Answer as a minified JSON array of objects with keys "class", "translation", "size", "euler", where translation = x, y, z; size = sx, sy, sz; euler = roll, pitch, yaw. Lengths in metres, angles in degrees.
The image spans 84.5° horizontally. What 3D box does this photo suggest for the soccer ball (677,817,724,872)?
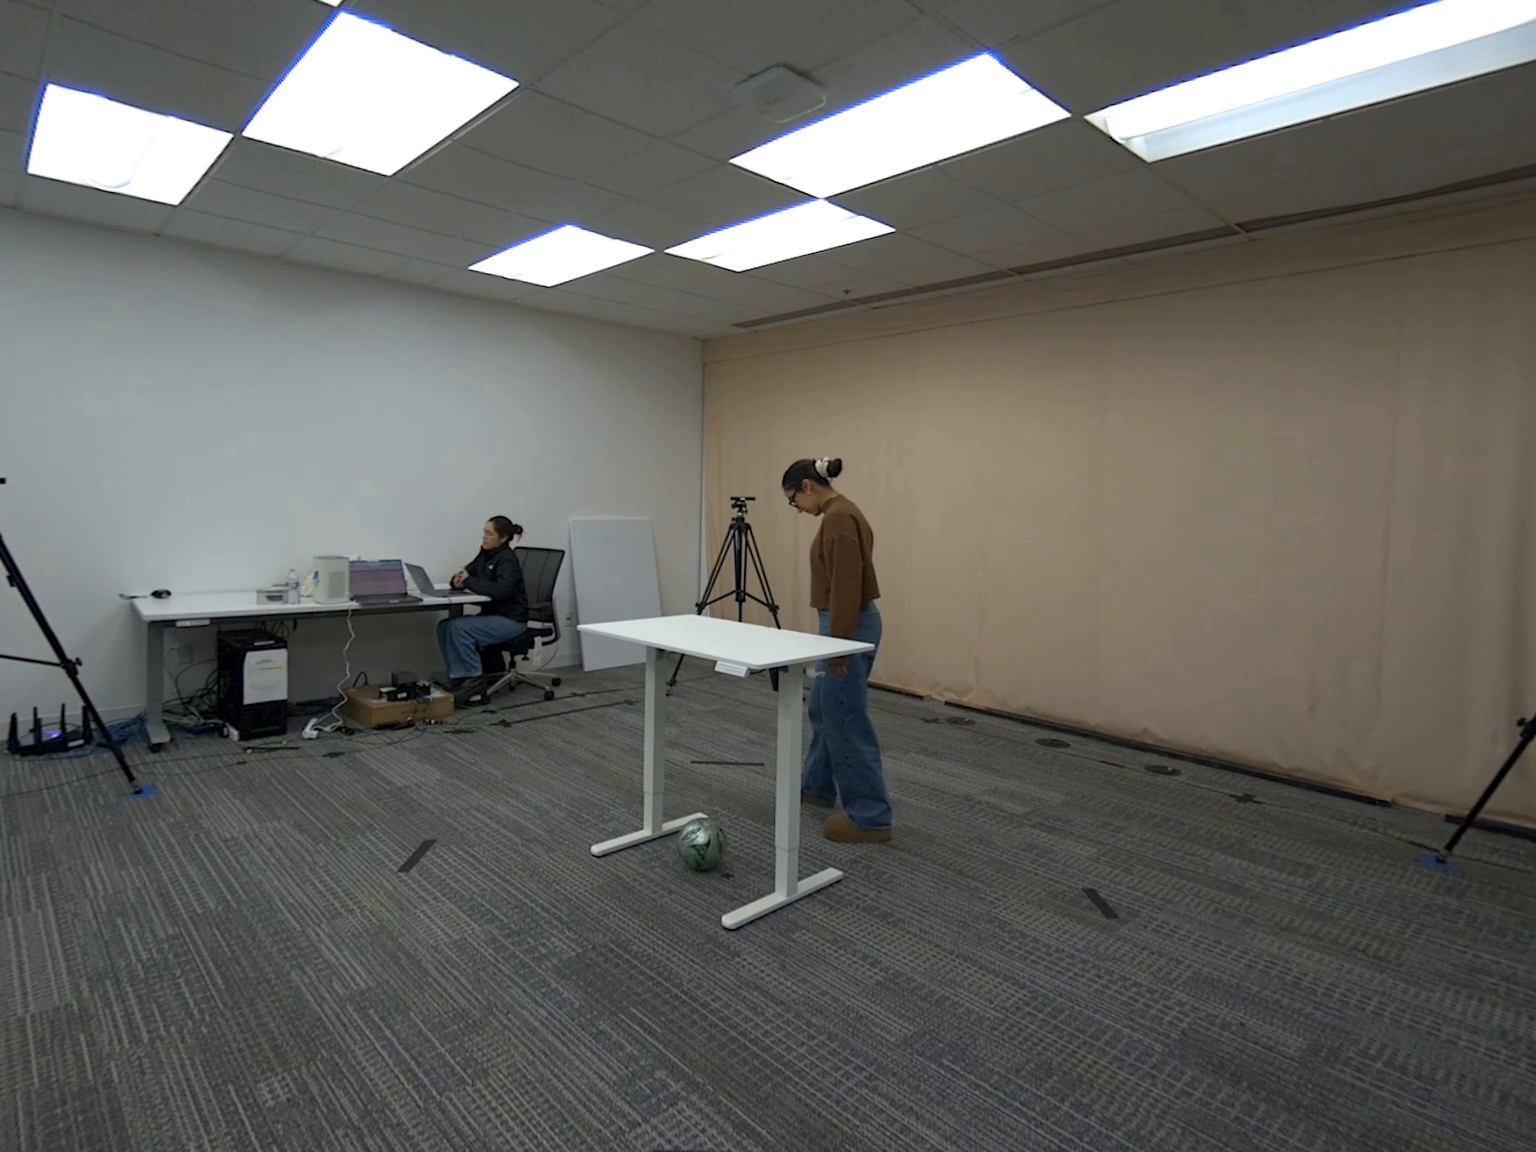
[{"class":"soccer ball","translation":[-0.253,1.003,3.161],"size":[0.187,0.187,0.188],"euler":[1,4,-1]}]
